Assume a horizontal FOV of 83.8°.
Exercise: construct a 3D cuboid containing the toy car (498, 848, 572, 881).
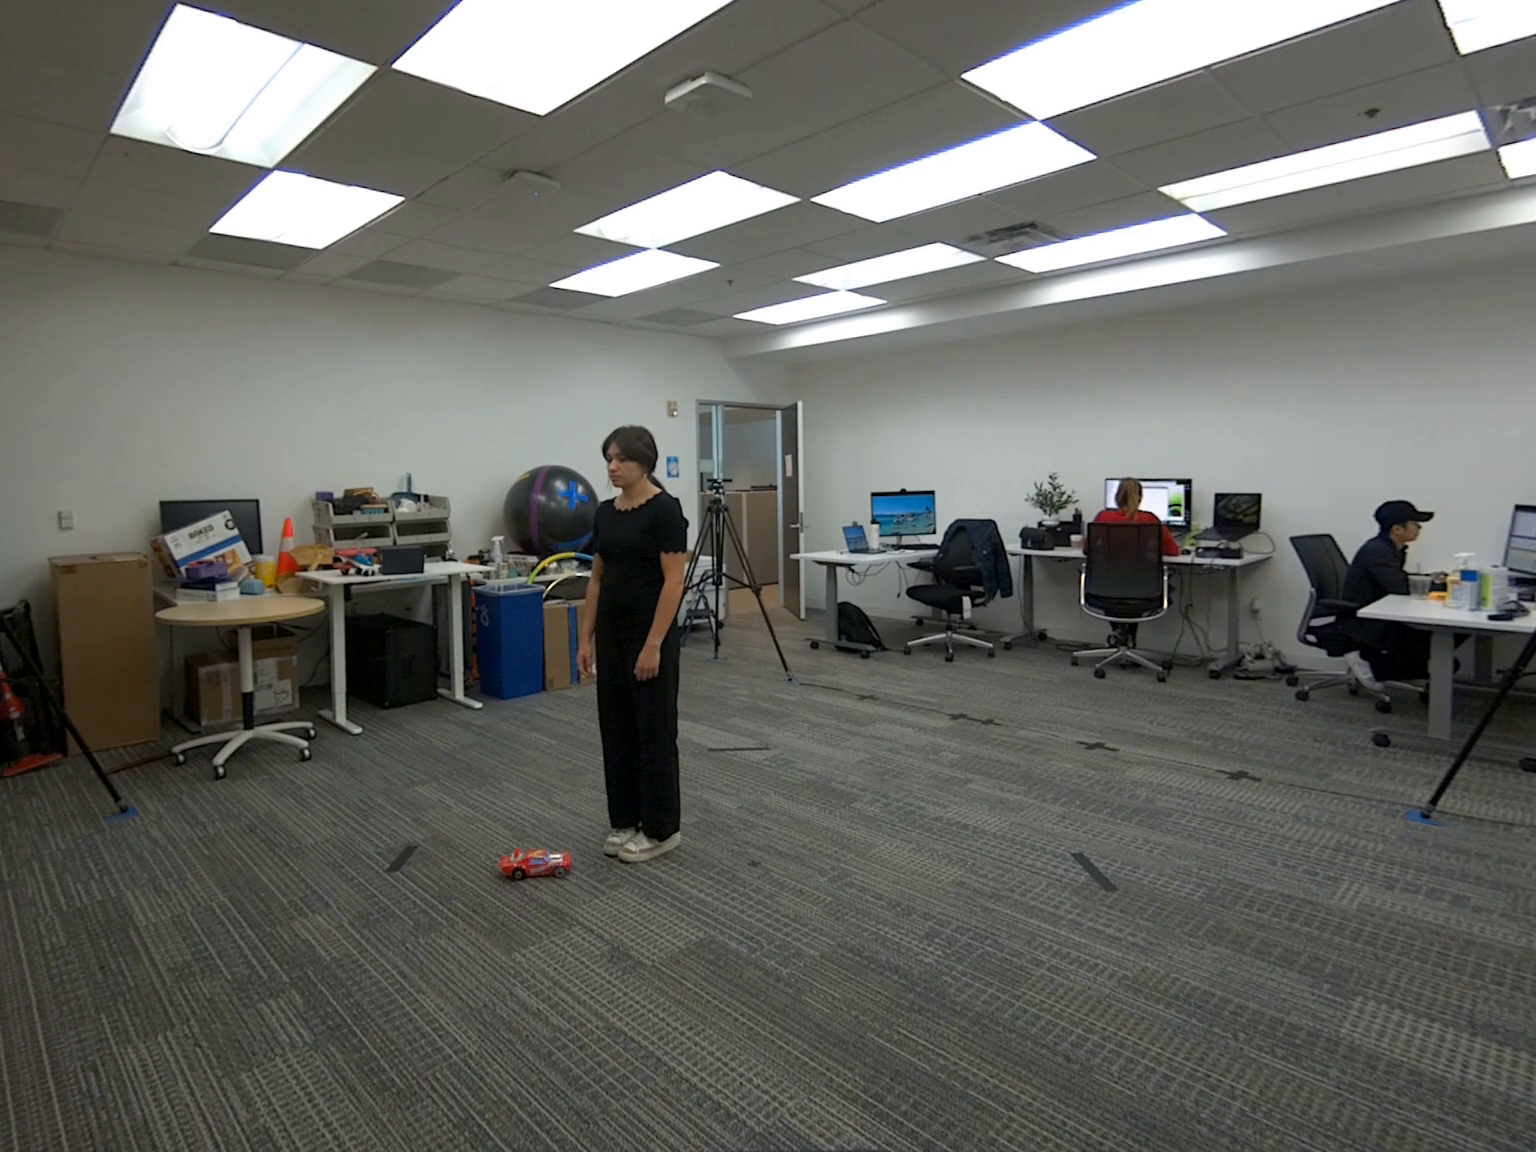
[{"bbox_3d":[-0.841,1.035,3.061,0.253,0.083,0.131,10,4,-6],"label":"toy car"}]
